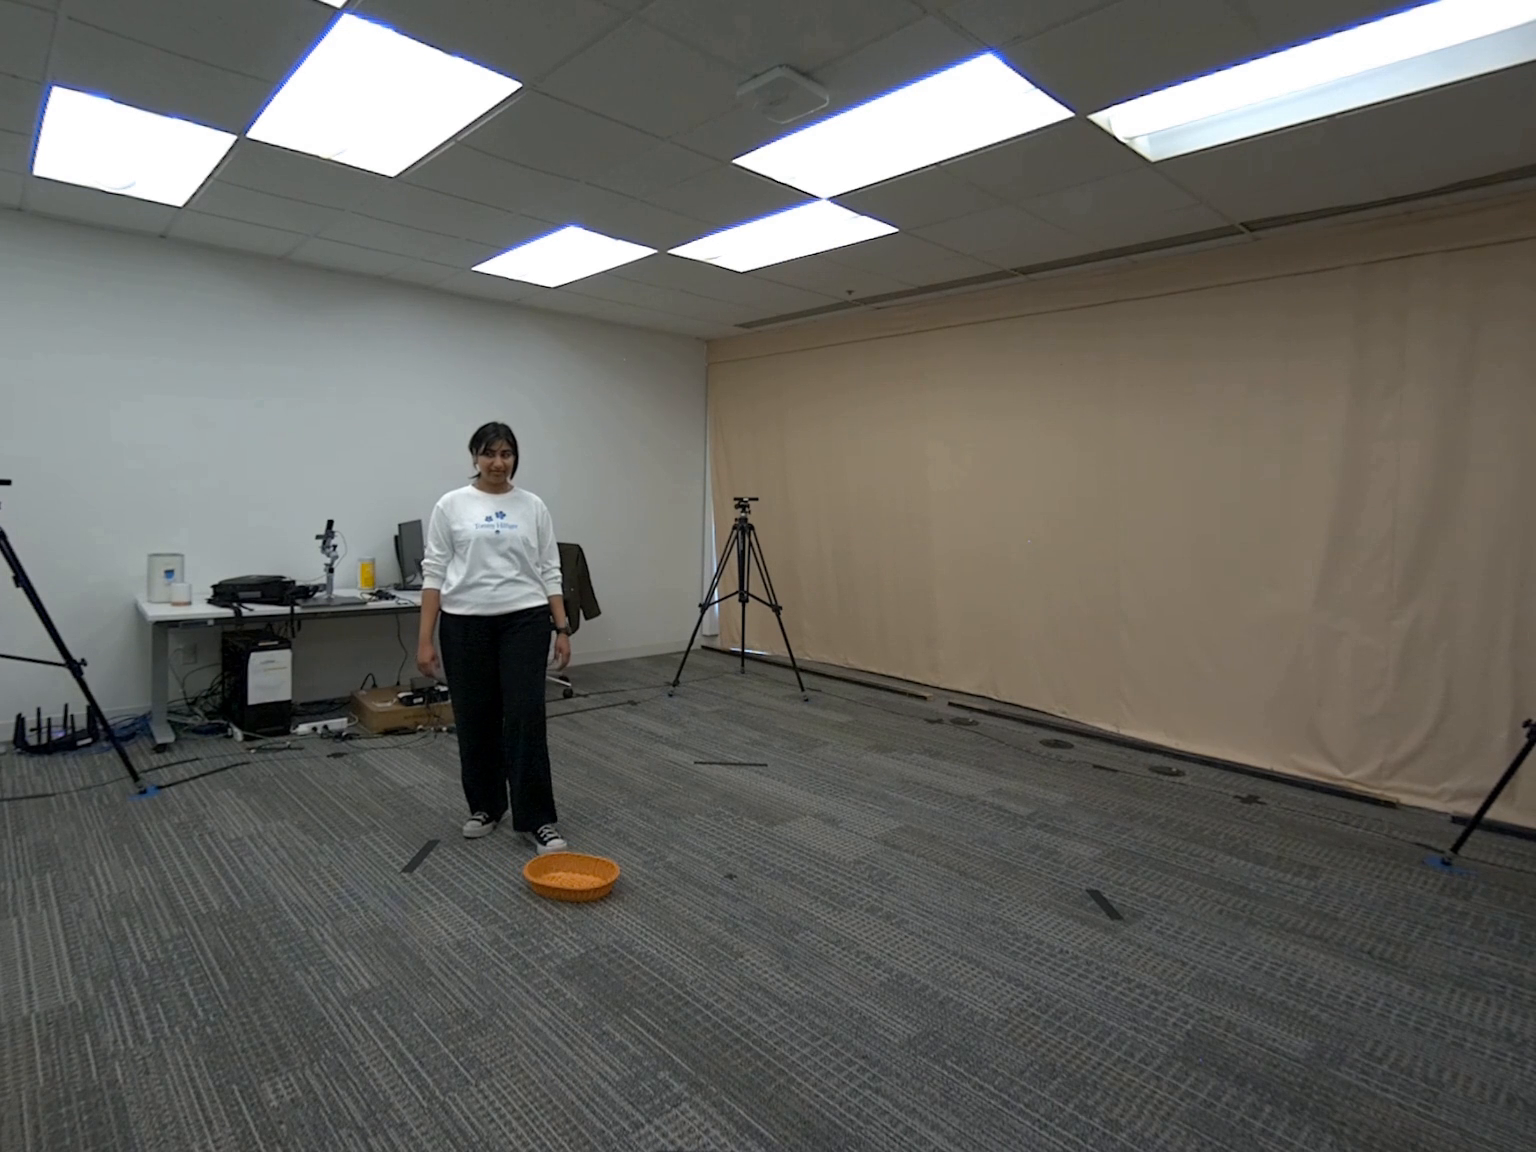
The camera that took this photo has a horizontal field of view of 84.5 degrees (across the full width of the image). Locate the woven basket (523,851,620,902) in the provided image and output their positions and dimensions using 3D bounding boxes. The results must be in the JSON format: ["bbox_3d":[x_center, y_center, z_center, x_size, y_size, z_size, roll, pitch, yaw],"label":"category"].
[{"bbox_3d":[-0.699,1.070,2.973,0.356,0.073,0.249,3,7,18],"label":"woven basket"}]
